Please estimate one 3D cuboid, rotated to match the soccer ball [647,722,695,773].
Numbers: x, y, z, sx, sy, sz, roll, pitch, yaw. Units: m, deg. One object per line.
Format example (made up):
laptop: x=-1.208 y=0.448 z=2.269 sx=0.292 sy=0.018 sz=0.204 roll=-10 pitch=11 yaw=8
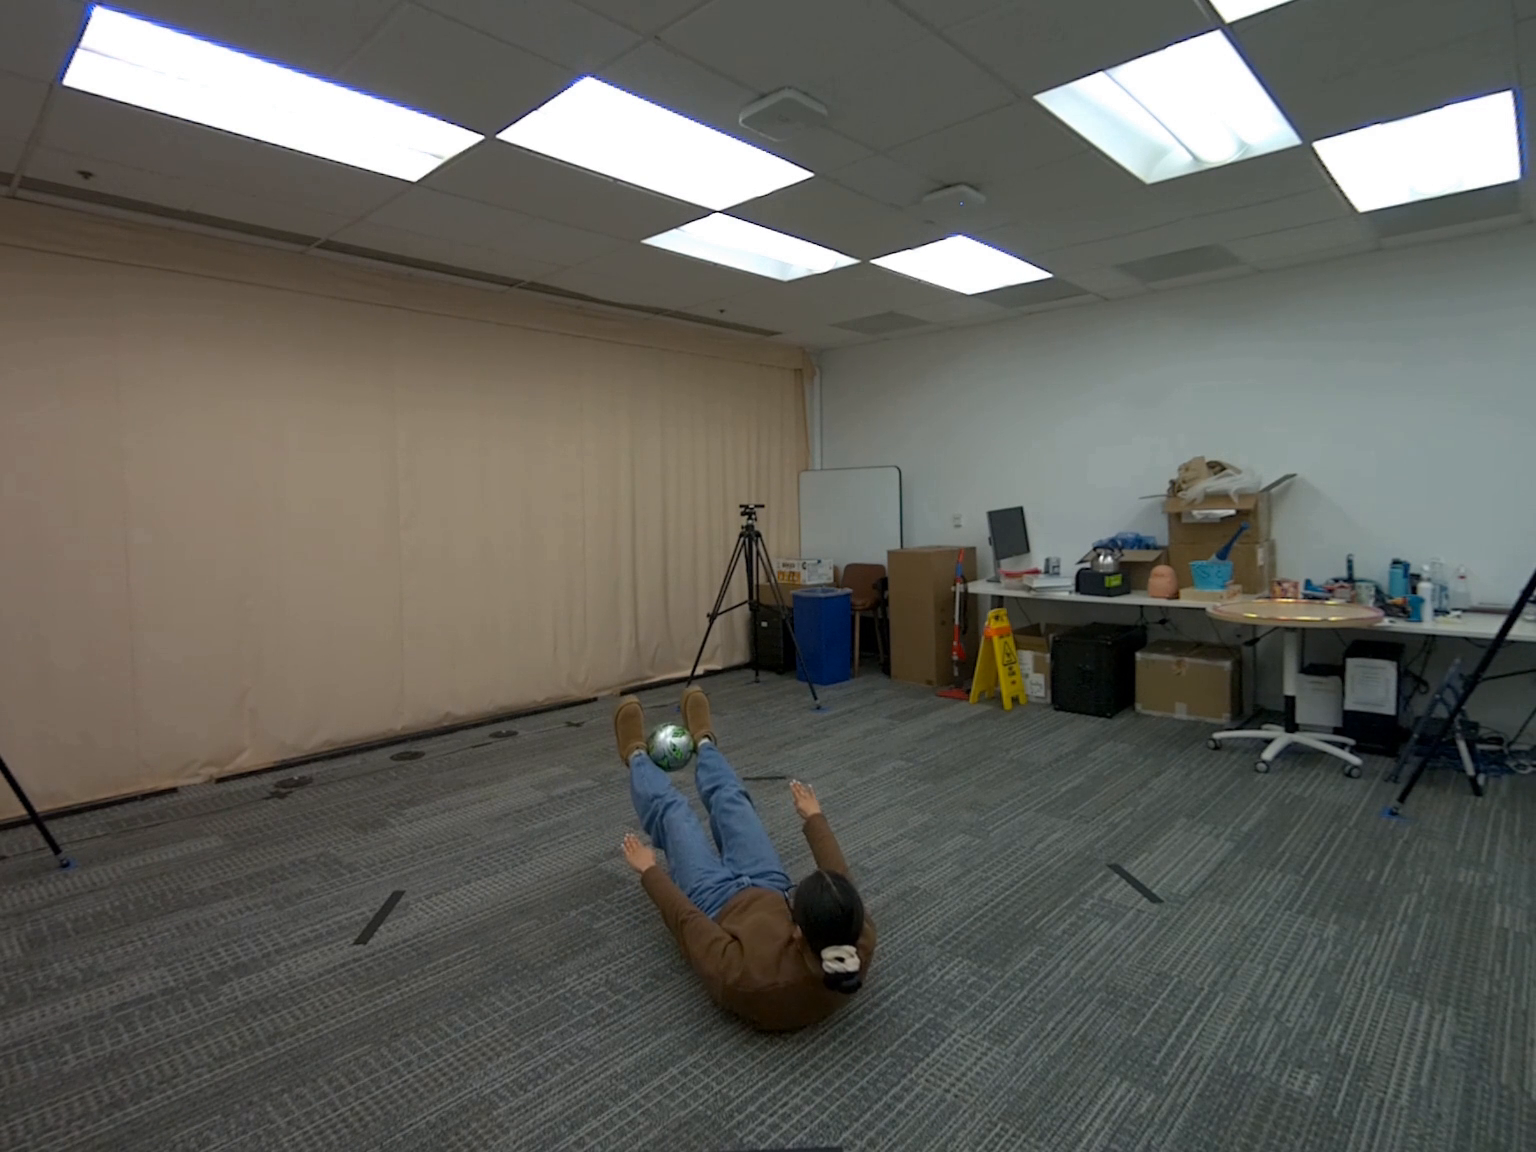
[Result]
soccer ball: x=-0.381 y=0.665 z=3.225 sx=0.187 sy=0.187 sz=0.188 roll=-1 pitch=4 yaw=-2
